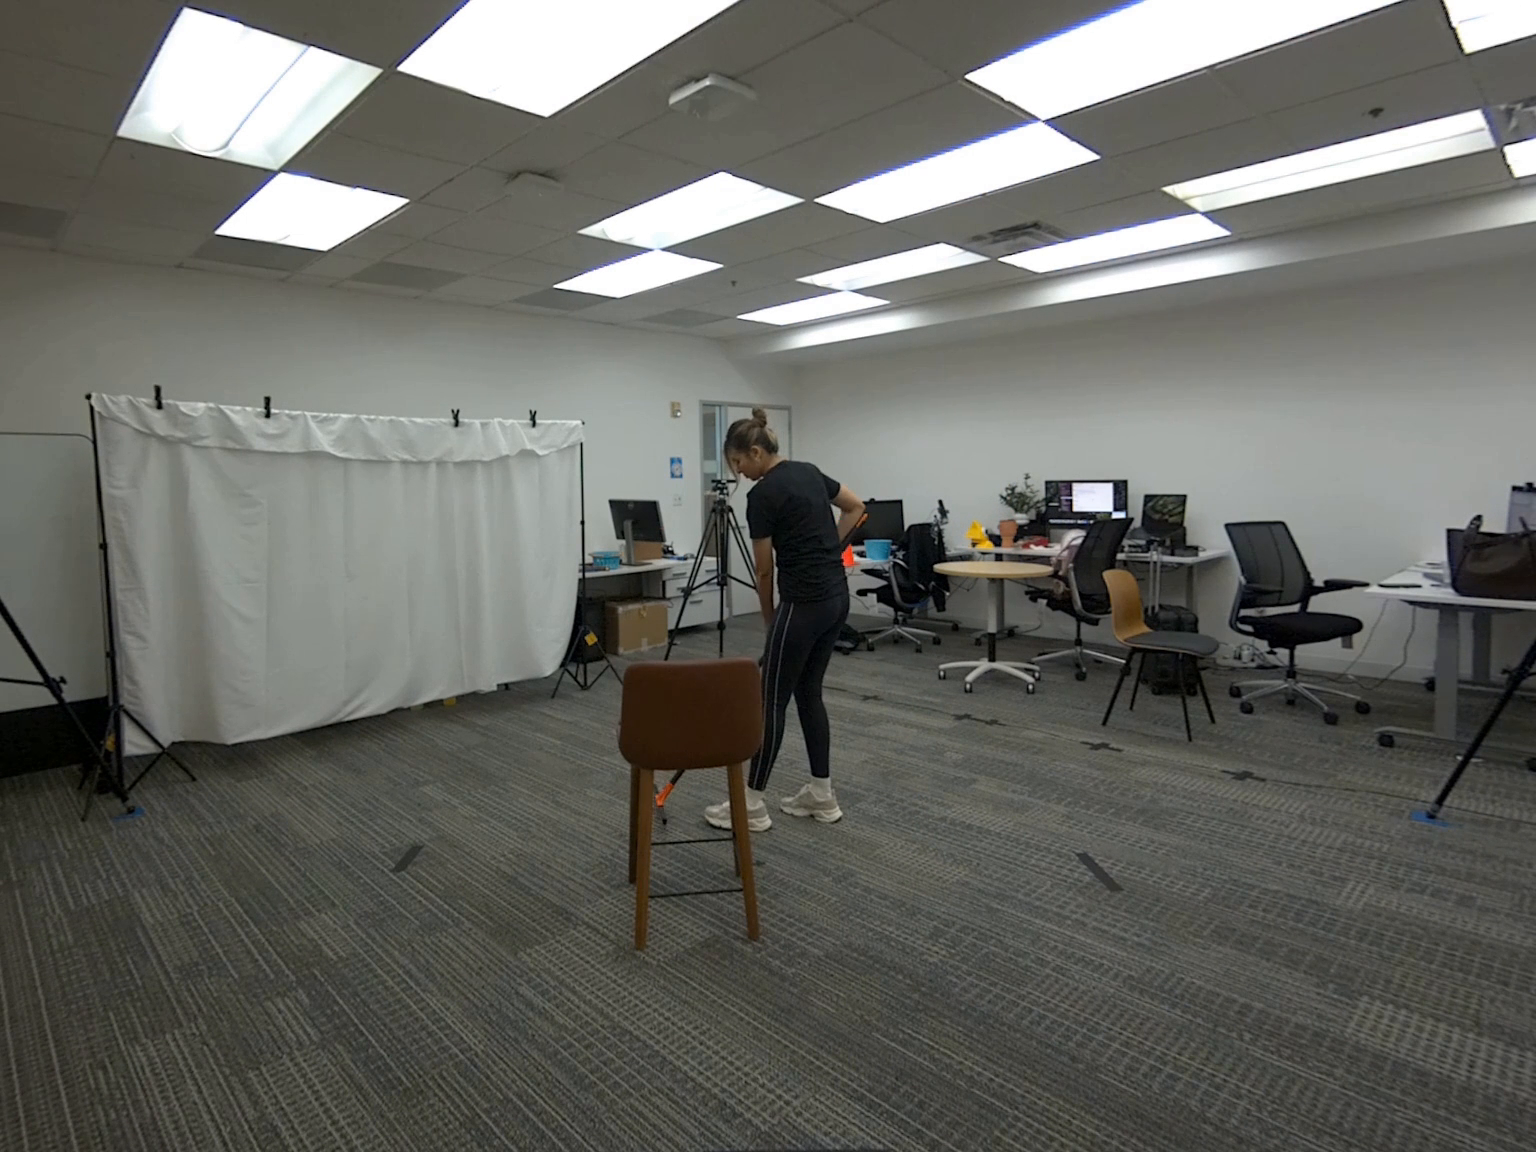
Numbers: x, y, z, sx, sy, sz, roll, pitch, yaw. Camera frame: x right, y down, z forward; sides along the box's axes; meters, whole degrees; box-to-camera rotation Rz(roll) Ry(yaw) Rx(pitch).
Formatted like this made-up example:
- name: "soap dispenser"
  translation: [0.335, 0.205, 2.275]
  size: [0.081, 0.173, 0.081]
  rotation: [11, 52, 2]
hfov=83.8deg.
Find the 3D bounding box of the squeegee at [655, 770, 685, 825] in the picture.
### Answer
- name: "squeegee"
  translation: [-0.027, 0.341, 3.663]
  size: [0.052, 1.539, 0.445]
  rotation: [38, -5, -16]
